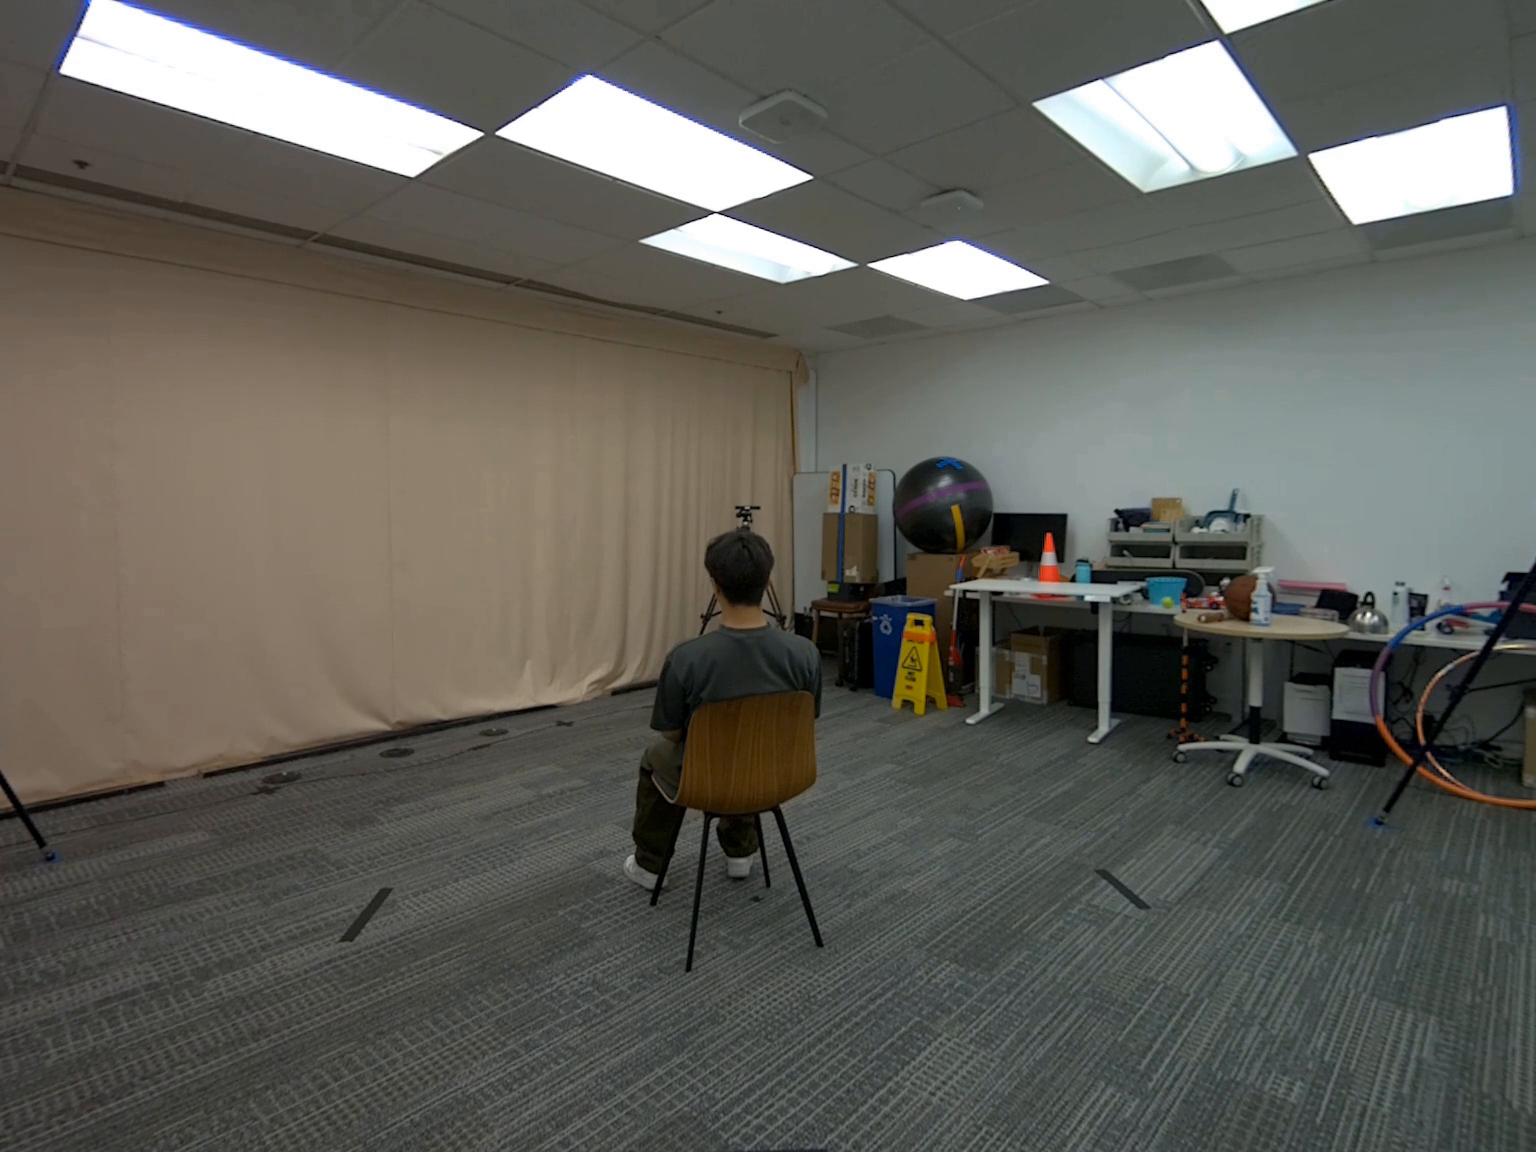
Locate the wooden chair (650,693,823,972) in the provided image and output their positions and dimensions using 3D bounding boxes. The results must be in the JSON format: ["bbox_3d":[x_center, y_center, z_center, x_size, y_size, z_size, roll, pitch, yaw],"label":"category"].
[{"bbox_3d":[-0.117,0.729,2.773,0.469,0.873,0.536,-2,8,-20],"label":"wooden chair"}]
